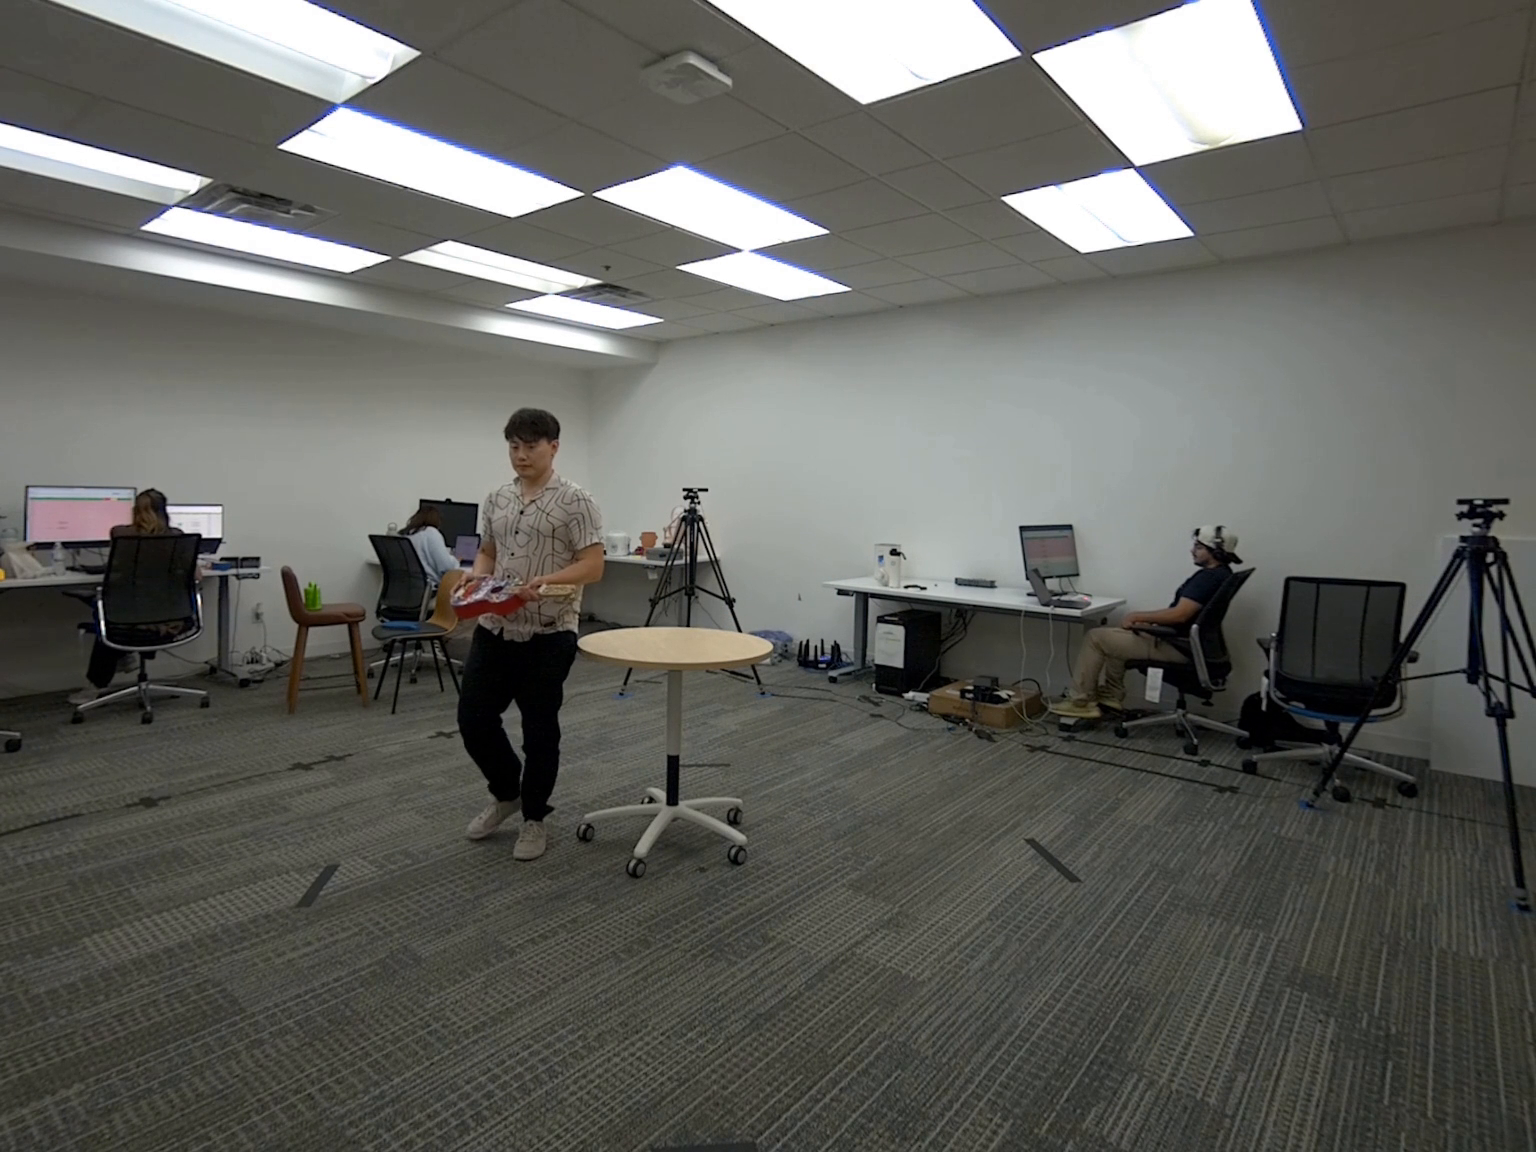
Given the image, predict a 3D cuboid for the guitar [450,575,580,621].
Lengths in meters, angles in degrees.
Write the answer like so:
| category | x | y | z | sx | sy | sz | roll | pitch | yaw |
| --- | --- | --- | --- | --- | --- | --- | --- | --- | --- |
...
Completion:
| category | x | y | z | sx | sy | sz | roll | pitch | yaw |
| --- | --- | --- | --- | --- | --- | --- | --- | --- | --- |
| guitar | -0.910 | 0.081 | 2.952 | 0.513 | 0.068 | 0.193 | 5 | 37 | 31 |
